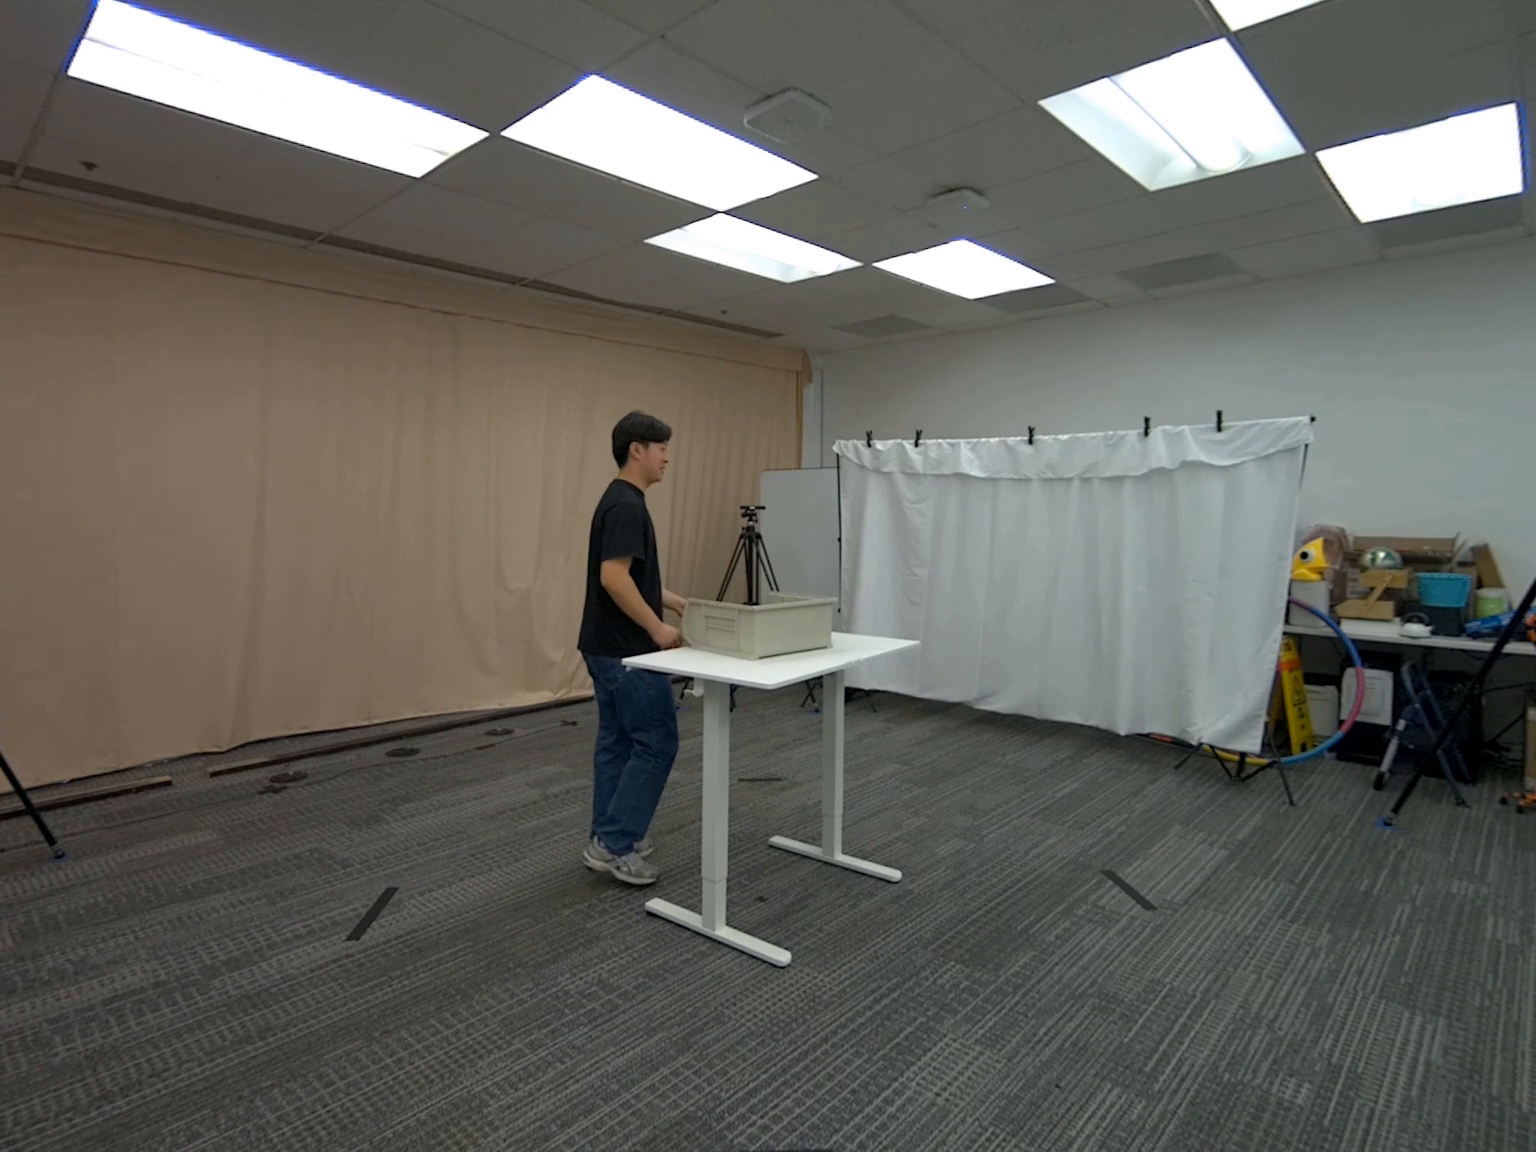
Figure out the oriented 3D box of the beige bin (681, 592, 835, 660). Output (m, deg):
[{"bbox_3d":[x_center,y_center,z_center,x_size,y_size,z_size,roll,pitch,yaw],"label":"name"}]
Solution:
[{"bbox_3d":[-0.029,0.169,3.016,0.409,0.188,0.390,-4,7,-43],"label":"beige bin"}]
